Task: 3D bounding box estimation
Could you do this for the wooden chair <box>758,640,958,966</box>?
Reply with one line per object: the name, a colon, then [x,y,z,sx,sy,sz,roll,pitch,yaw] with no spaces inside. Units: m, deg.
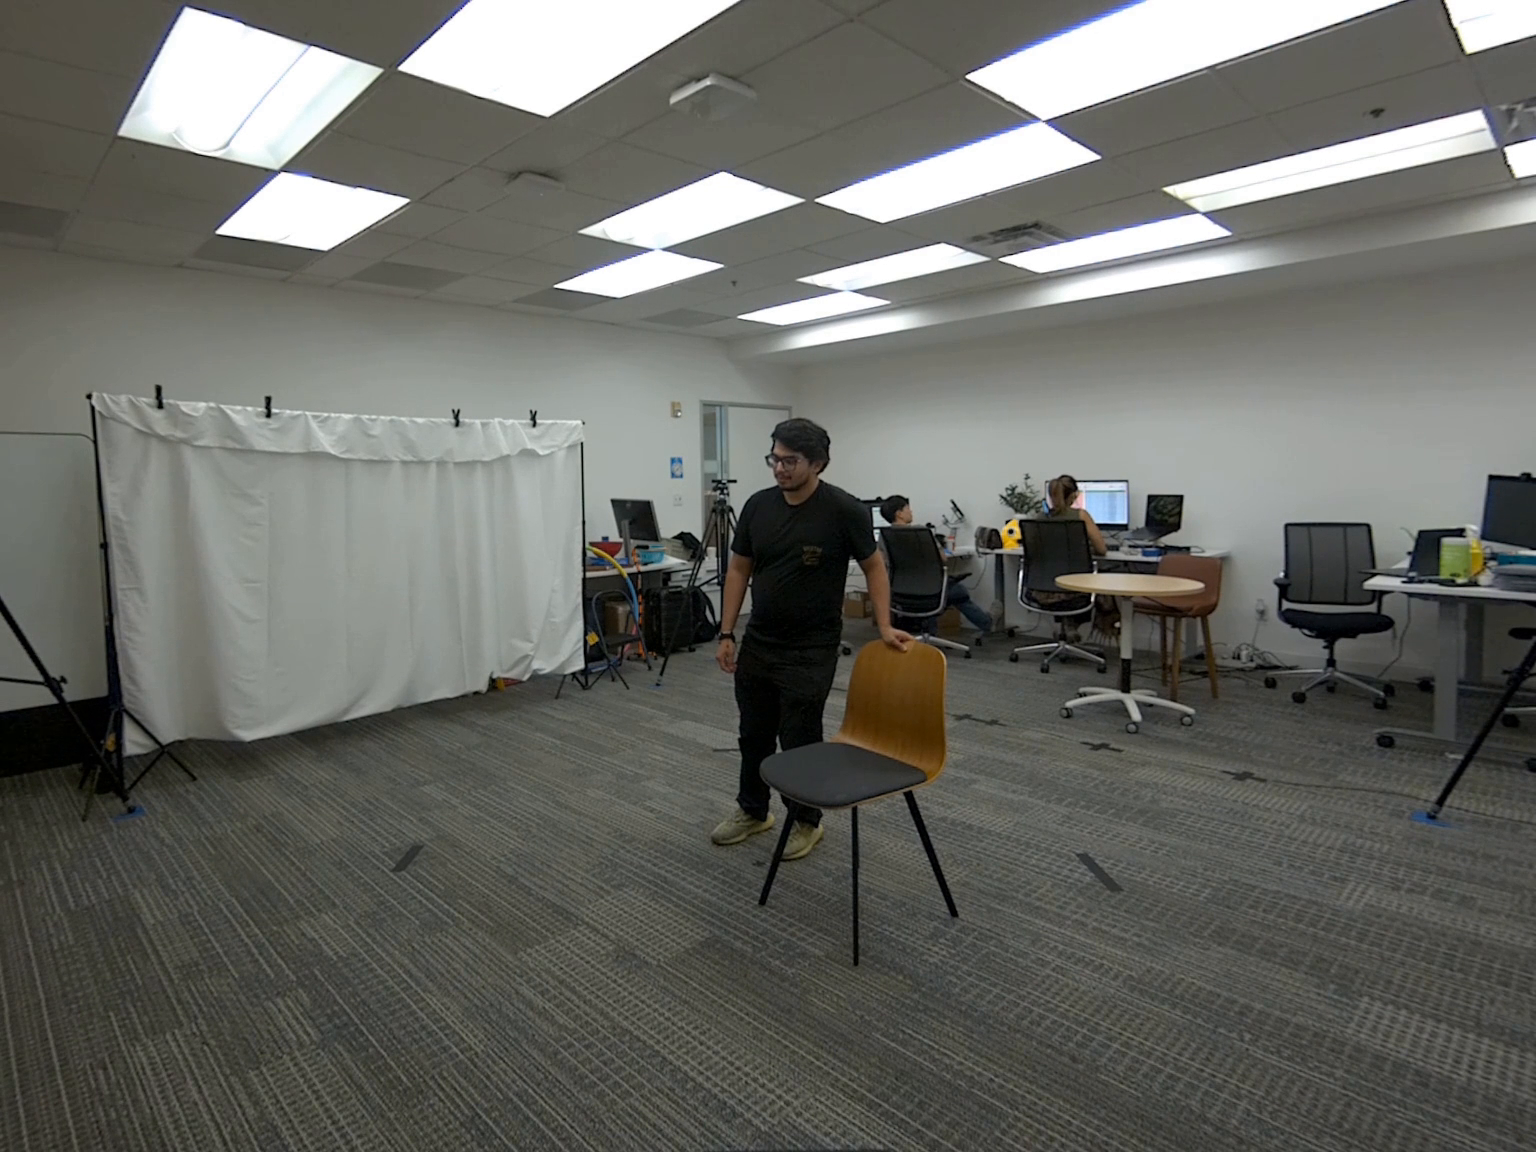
wooden chair: [0.280,0.661,2.715,0.508,0.877,0.492,1,2,-38]
